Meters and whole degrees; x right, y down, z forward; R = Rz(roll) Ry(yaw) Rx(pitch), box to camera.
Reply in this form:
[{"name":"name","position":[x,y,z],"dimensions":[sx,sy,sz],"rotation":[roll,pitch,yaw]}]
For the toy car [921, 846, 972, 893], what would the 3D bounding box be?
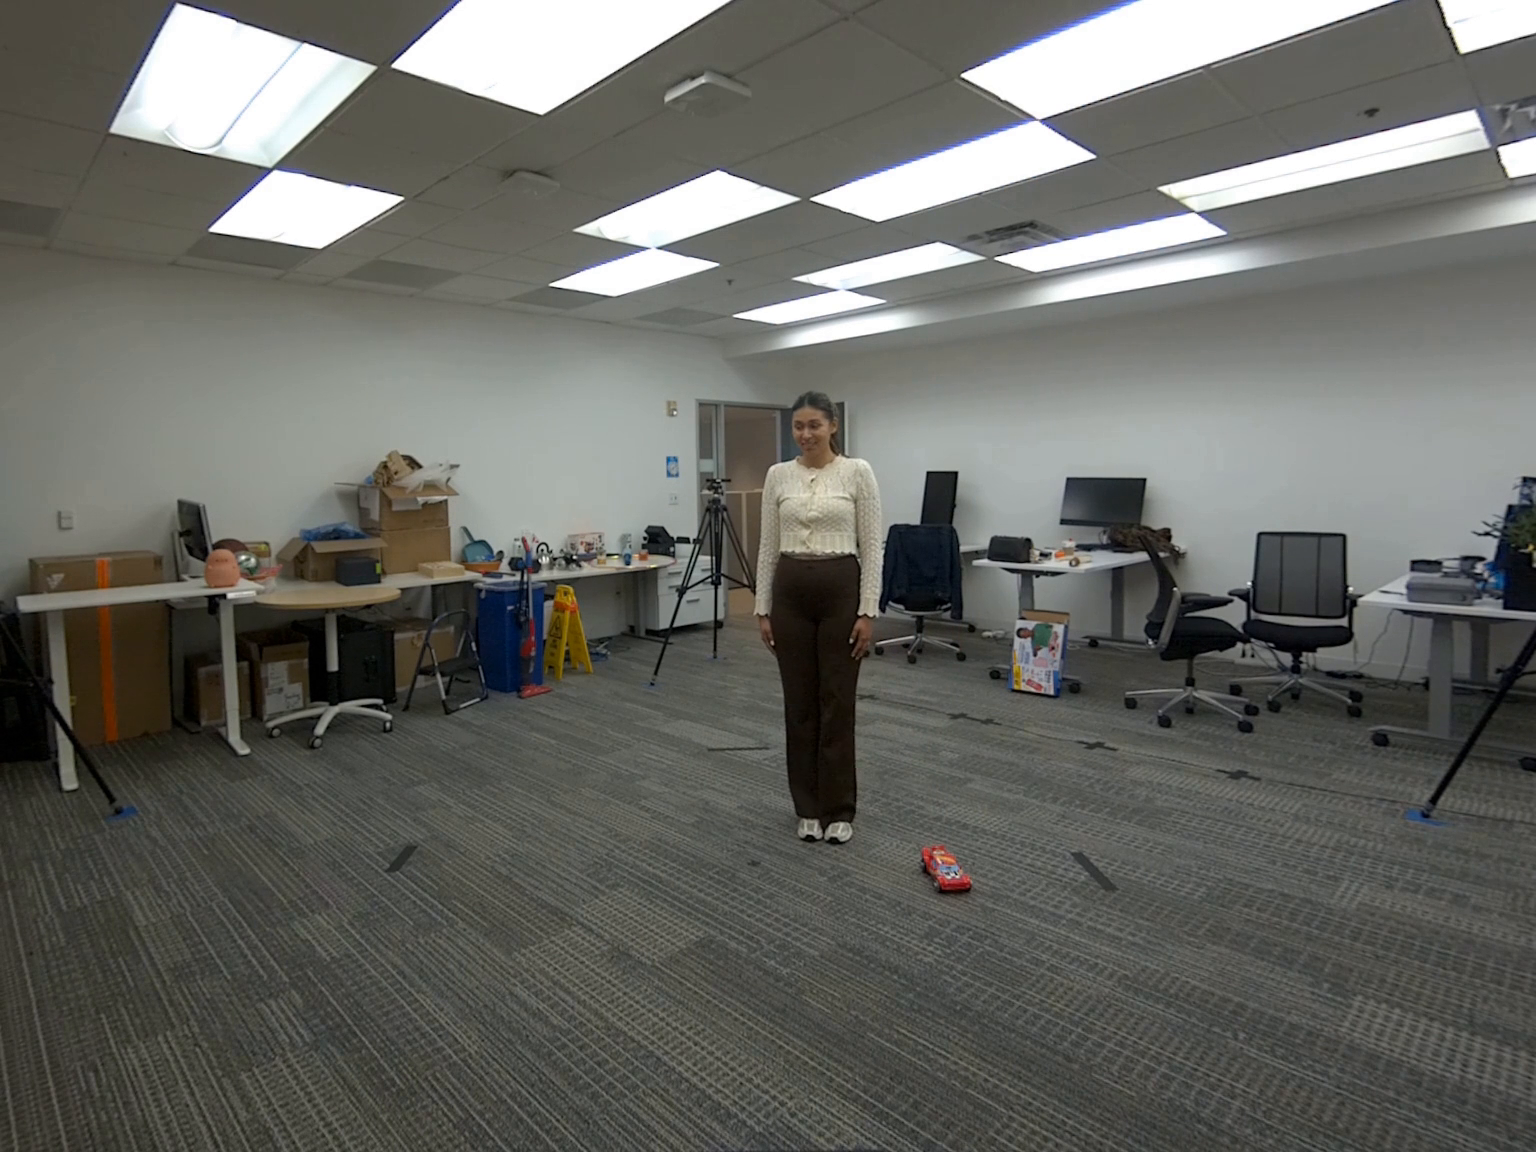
[{"name":"toy car","position":[0.615,1.018,2.961],"dimensions":[0.130,0.082,0.259],"rotation":[-2,17,-6]}]
